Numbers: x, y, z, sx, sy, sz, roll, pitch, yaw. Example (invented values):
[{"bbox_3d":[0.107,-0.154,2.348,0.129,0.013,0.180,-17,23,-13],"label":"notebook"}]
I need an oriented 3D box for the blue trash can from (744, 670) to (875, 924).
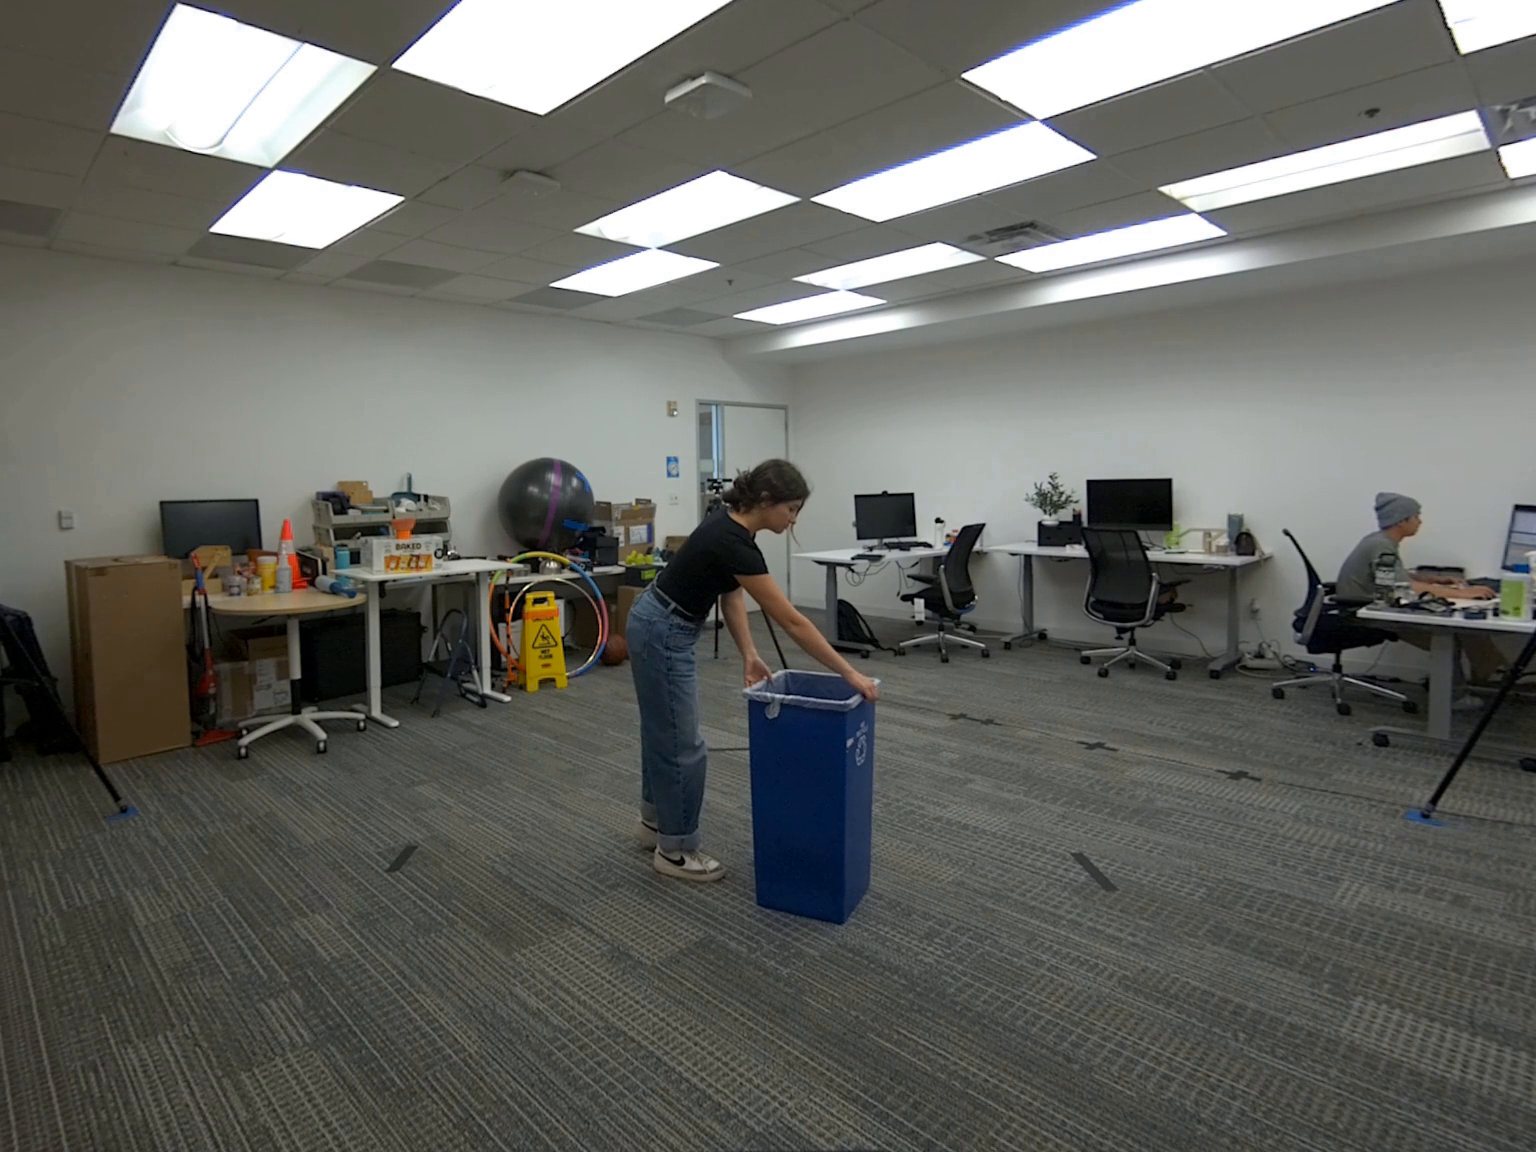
[{"bbox_3d":[0.156,0.711,2.849,0.387,0.711,0.367,1,4,25],"label":"blue trash can"}]
